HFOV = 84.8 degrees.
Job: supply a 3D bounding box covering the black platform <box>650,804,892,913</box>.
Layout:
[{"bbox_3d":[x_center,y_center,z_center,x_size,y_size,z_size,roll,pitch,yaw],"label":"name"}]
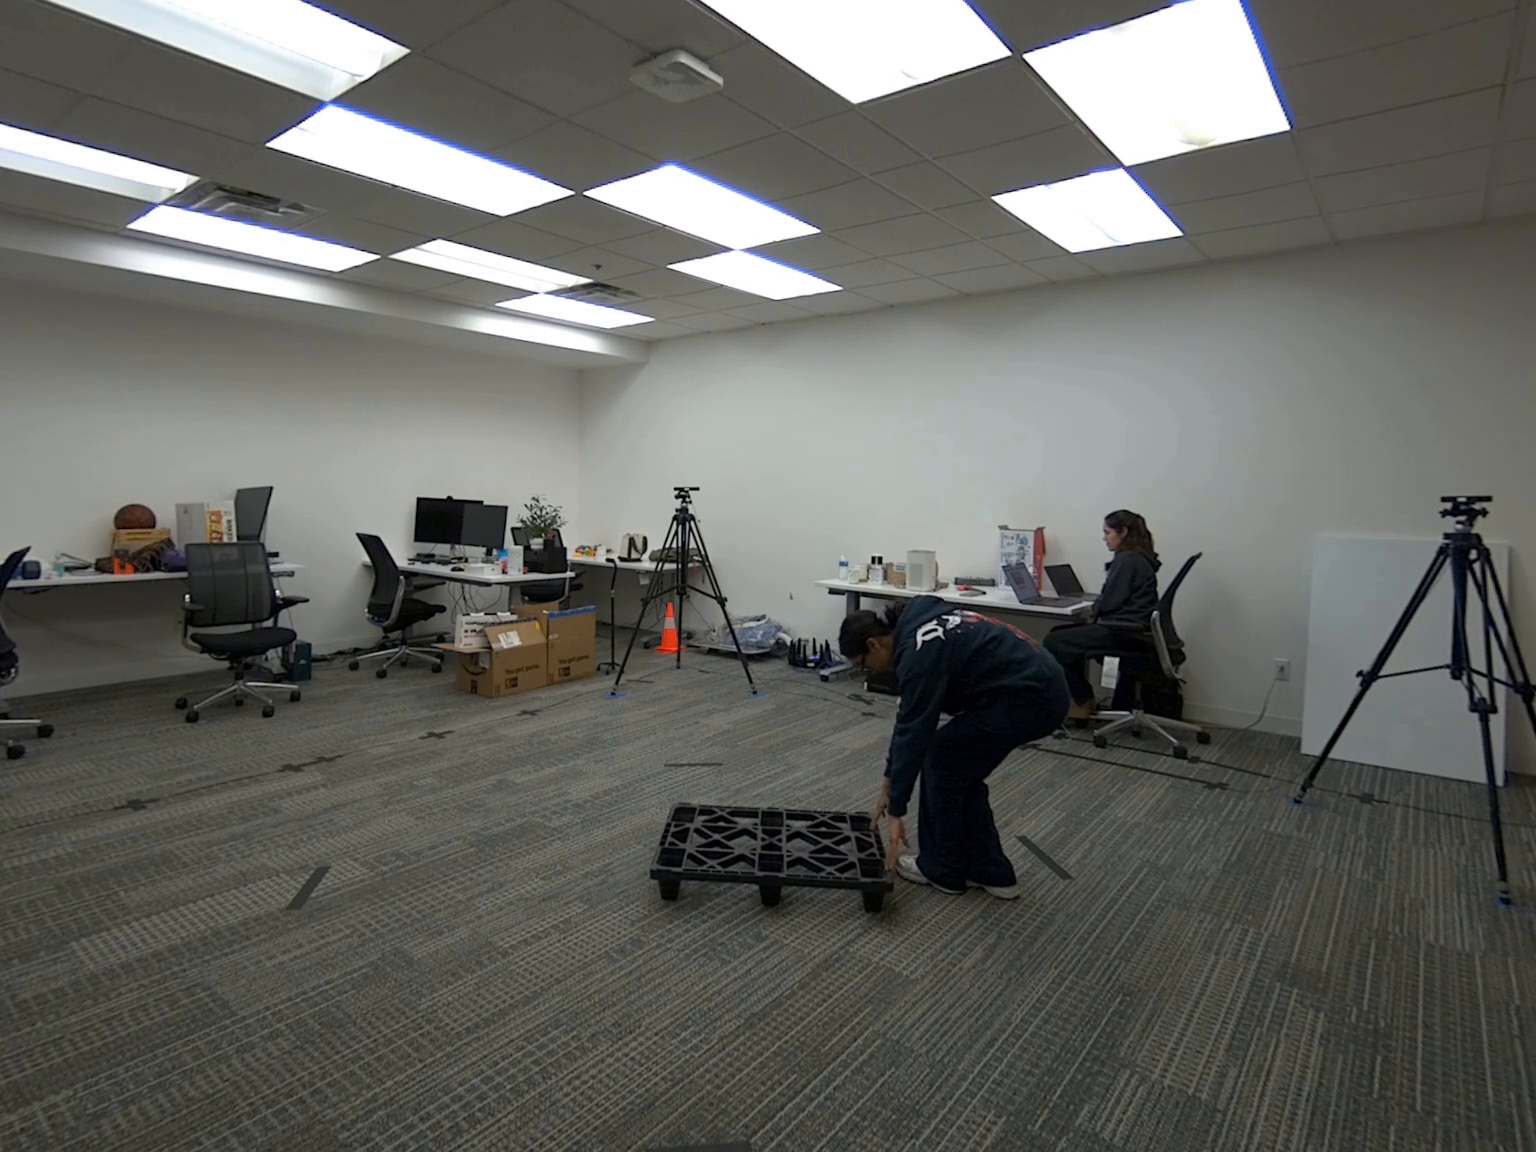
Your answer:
[{"bbox_3d":[-0.002,1.006,3.063,0.809,0.143,0.606,1,6,3],"label":"black platform"}]
